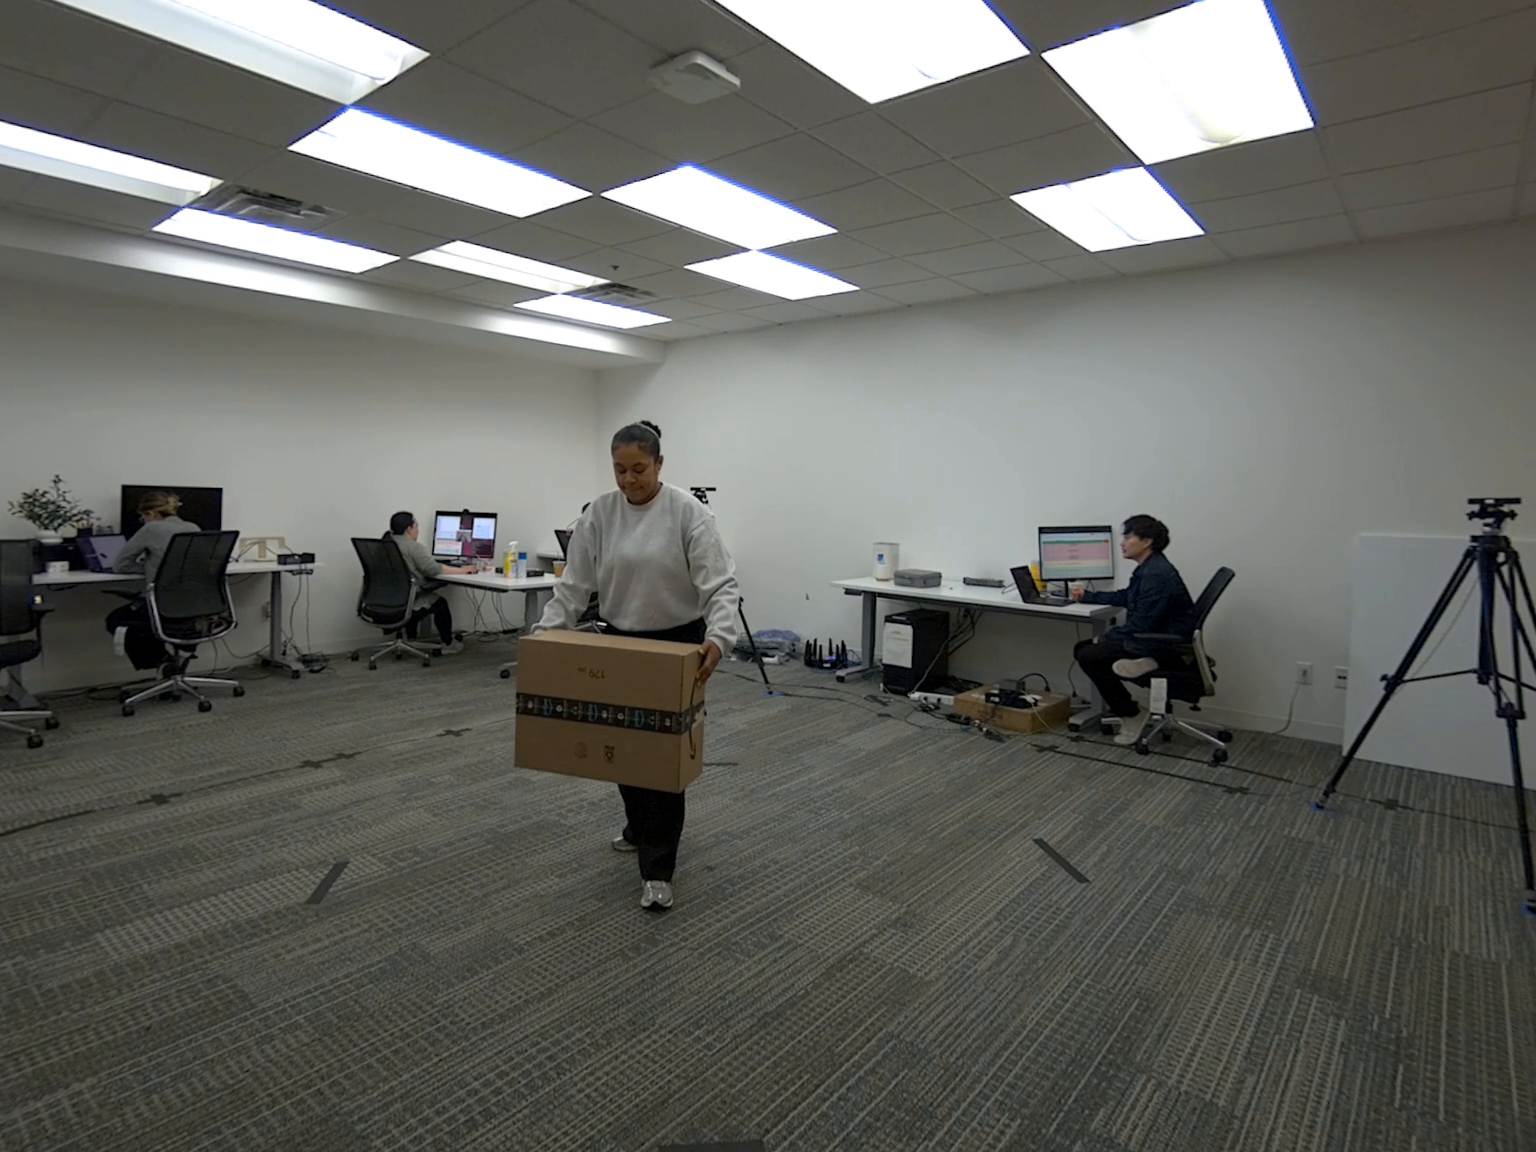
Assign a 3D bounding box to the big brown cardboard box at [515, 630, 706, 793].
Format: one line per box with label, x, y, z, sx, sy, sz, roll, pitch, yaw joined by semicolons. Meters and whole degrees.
big brown cardboard box;-0.514;0.416;2.713;0.601;0.416;0.229;4;3;18
